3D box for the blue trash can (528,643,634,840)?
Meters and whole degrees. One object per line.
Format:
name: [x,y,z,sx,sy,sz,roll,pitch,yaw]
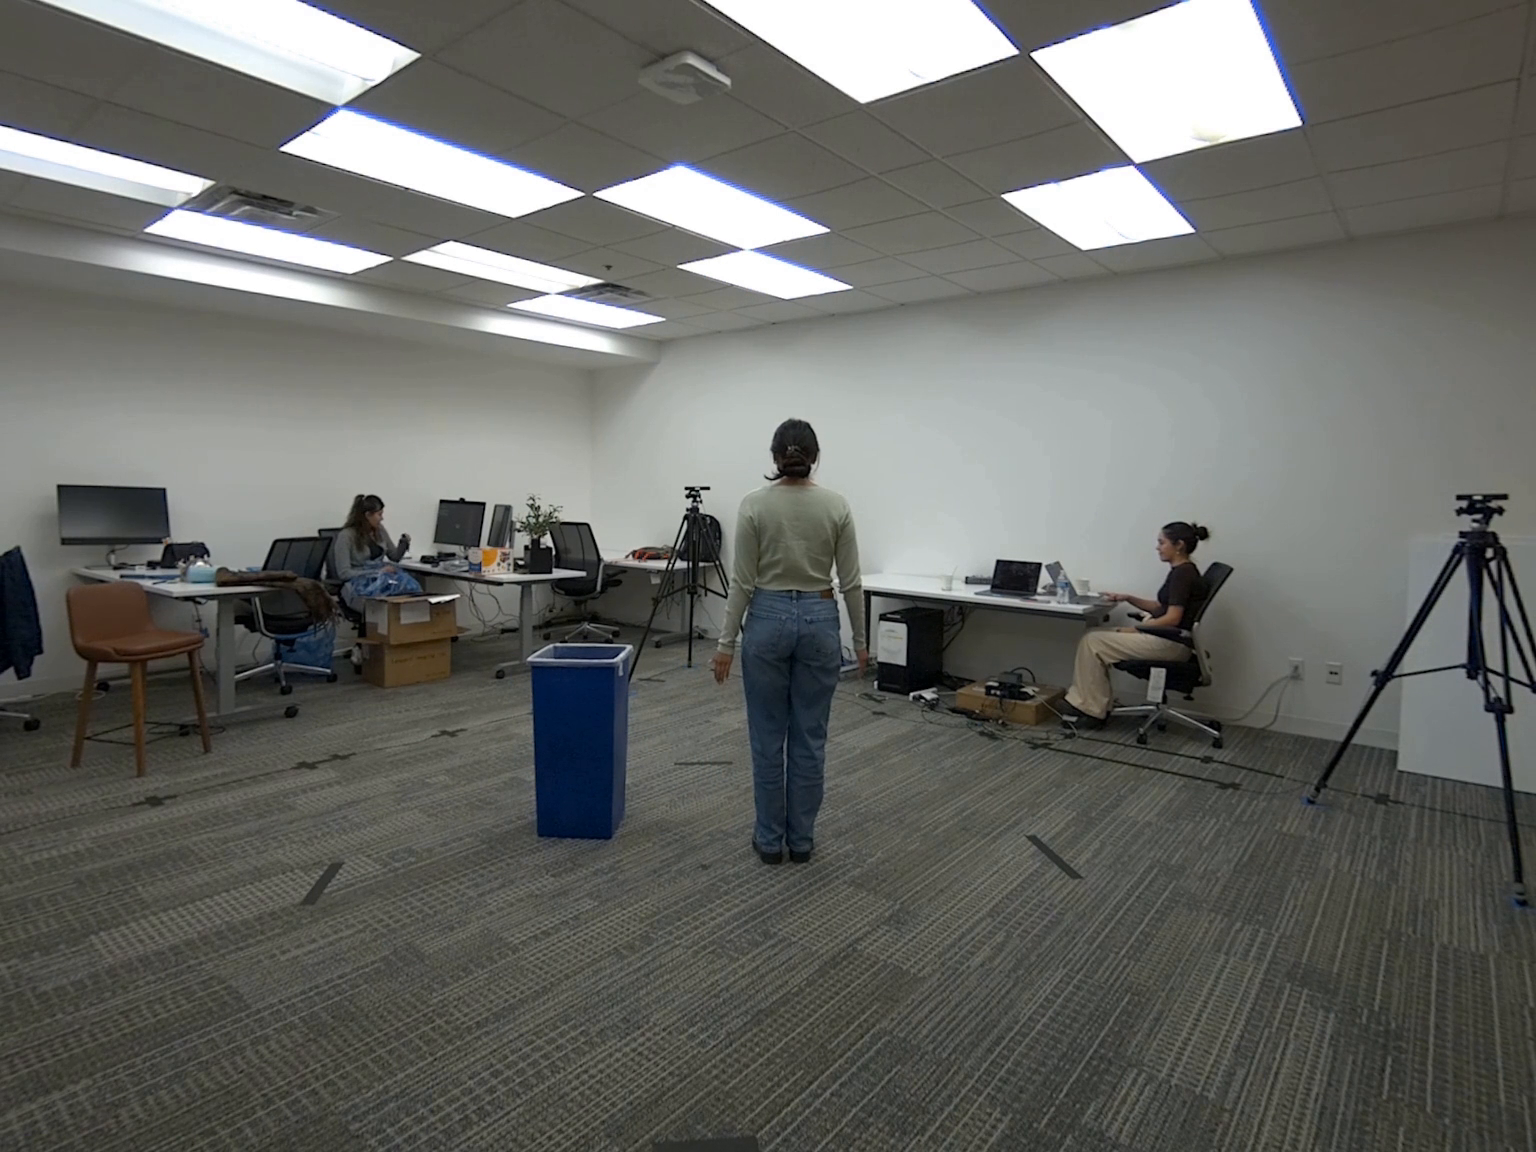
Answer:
blue trash can: [-0.785,0.664,3.503,0.380,0.711,0.374,0,3,3]
